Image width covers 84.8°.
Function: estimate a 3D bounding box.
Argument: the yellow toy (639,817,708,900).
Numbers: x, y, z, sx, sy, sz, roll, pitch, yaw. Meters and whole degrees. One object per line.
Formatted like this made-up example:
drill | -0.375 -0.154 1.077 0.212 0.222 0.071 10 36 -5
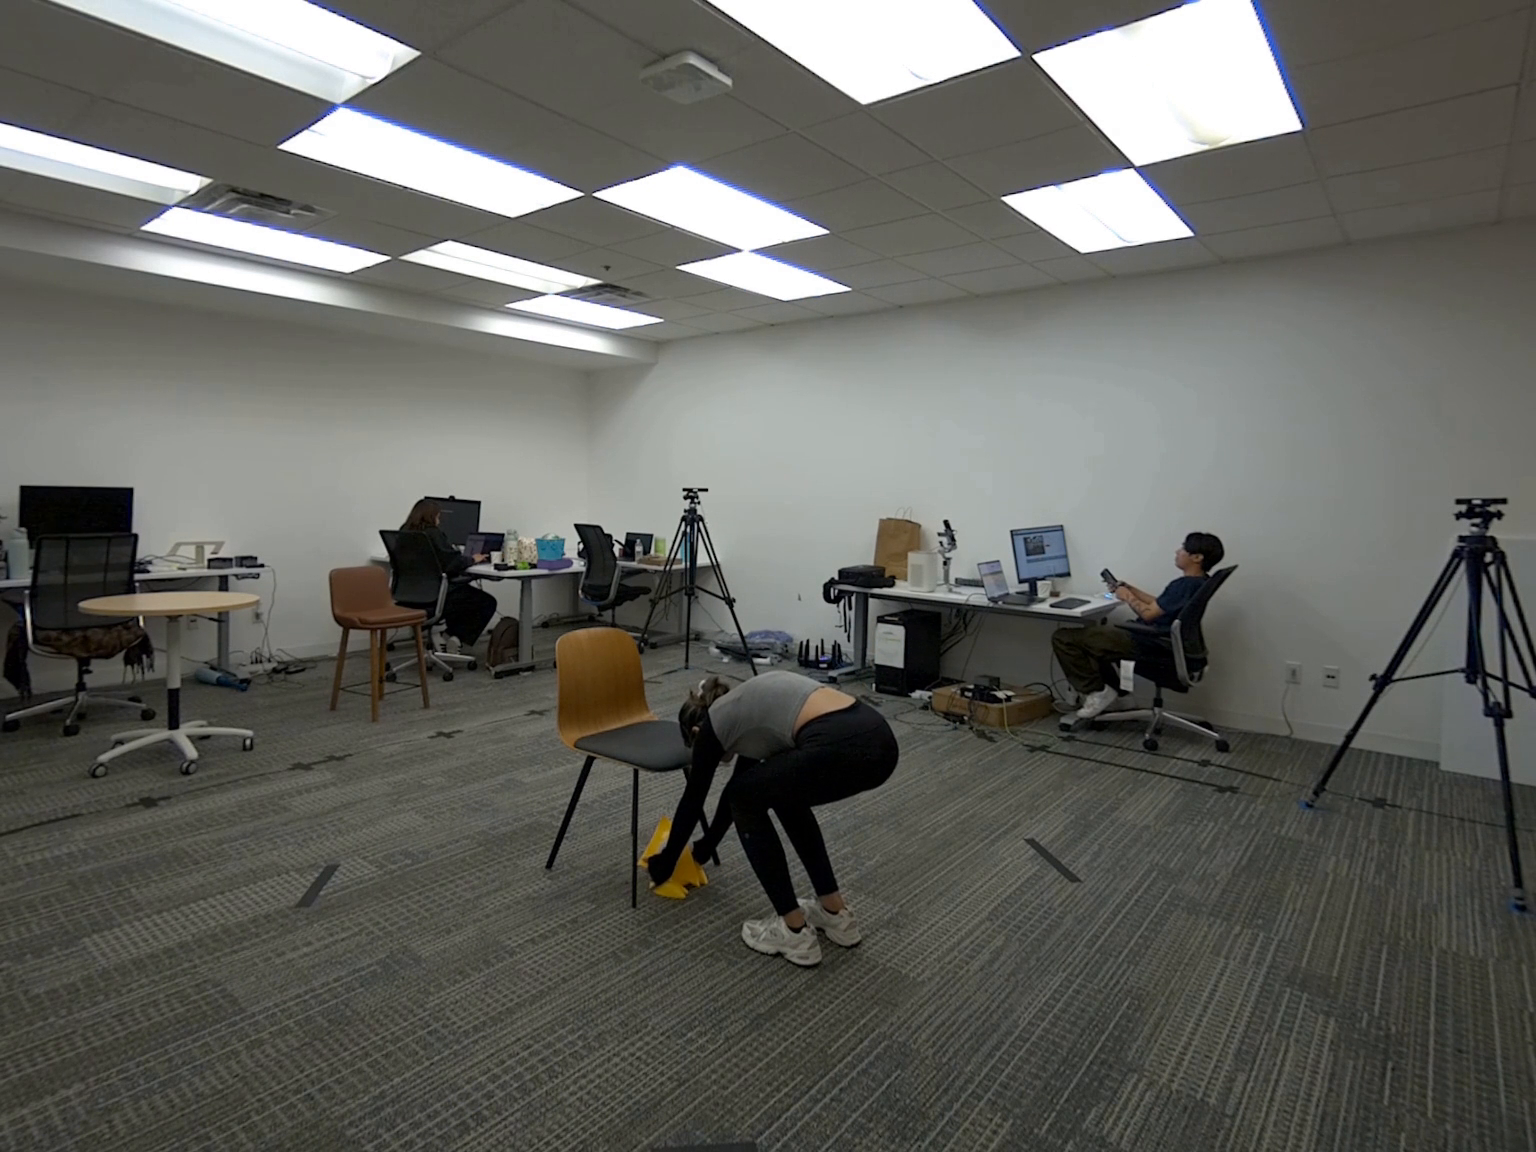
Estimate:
yellow toy | -0.329 0.970 2.985 0.199 0.230 0.199 4 5 33
